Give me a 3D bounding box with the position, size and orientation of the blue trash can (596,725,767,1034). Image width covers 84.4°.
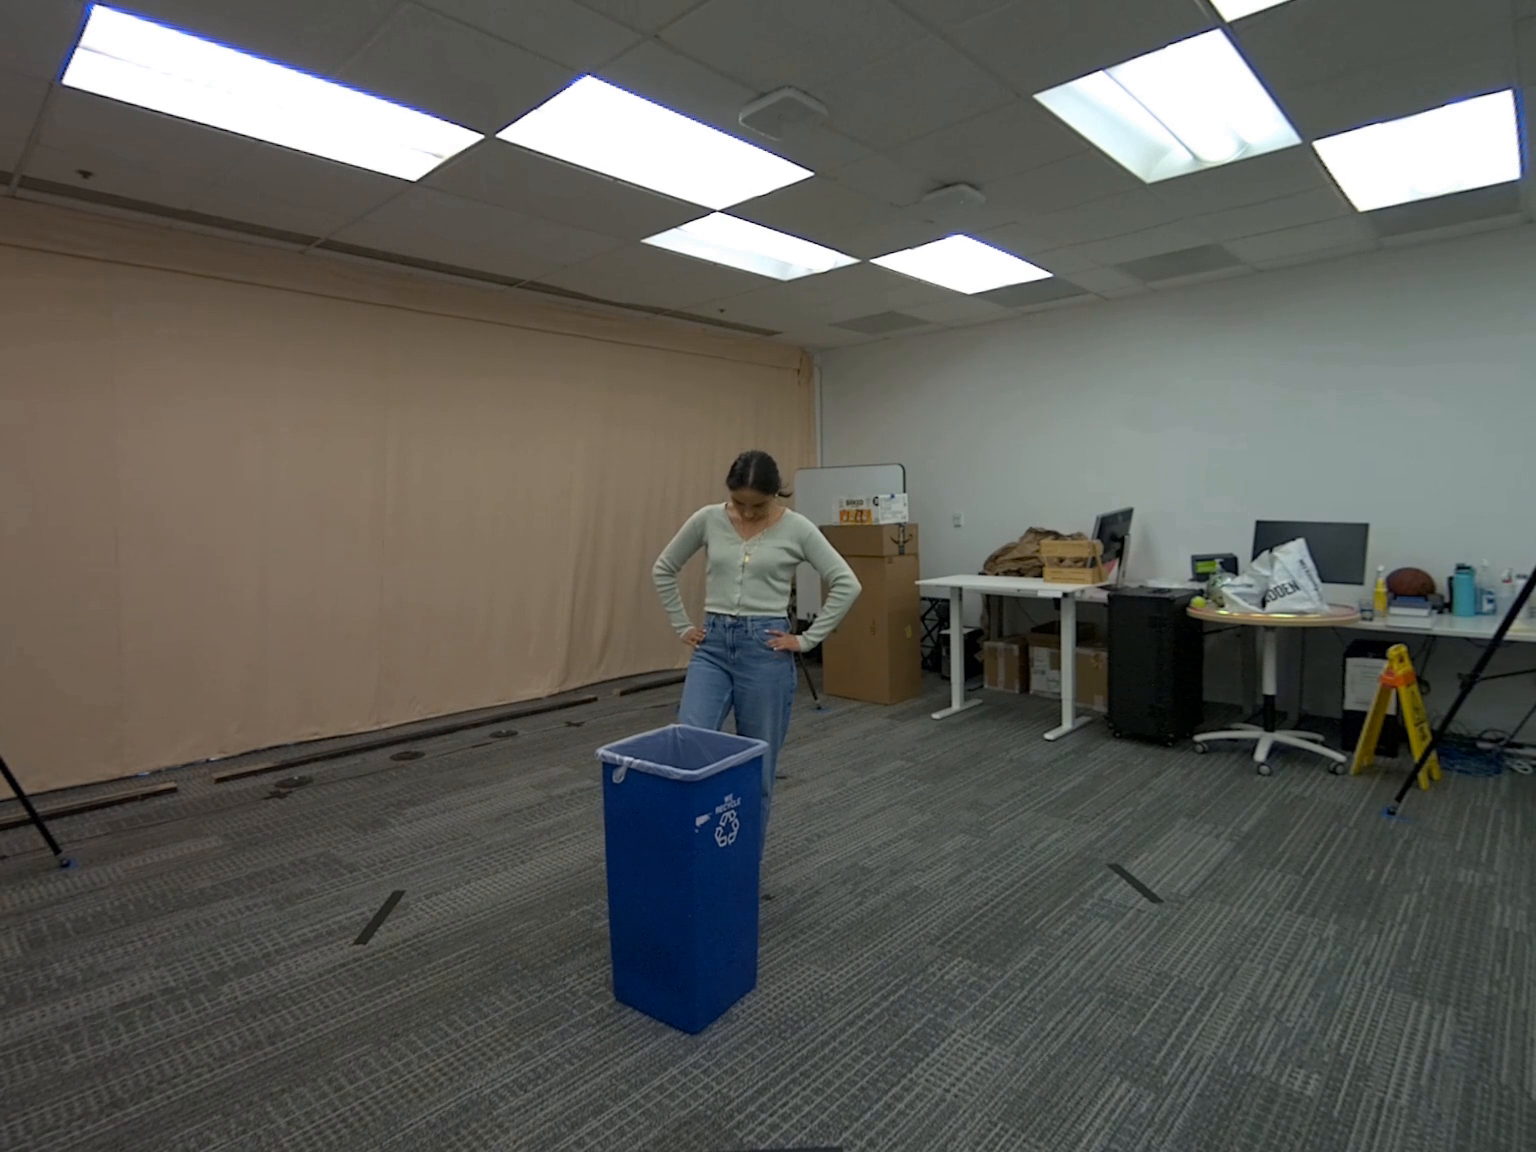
[{"bbox_3d":[-0.231,0.837,2.391,0.386,0.712,0.367,2,4,36],"label":"blue trash can"}]
